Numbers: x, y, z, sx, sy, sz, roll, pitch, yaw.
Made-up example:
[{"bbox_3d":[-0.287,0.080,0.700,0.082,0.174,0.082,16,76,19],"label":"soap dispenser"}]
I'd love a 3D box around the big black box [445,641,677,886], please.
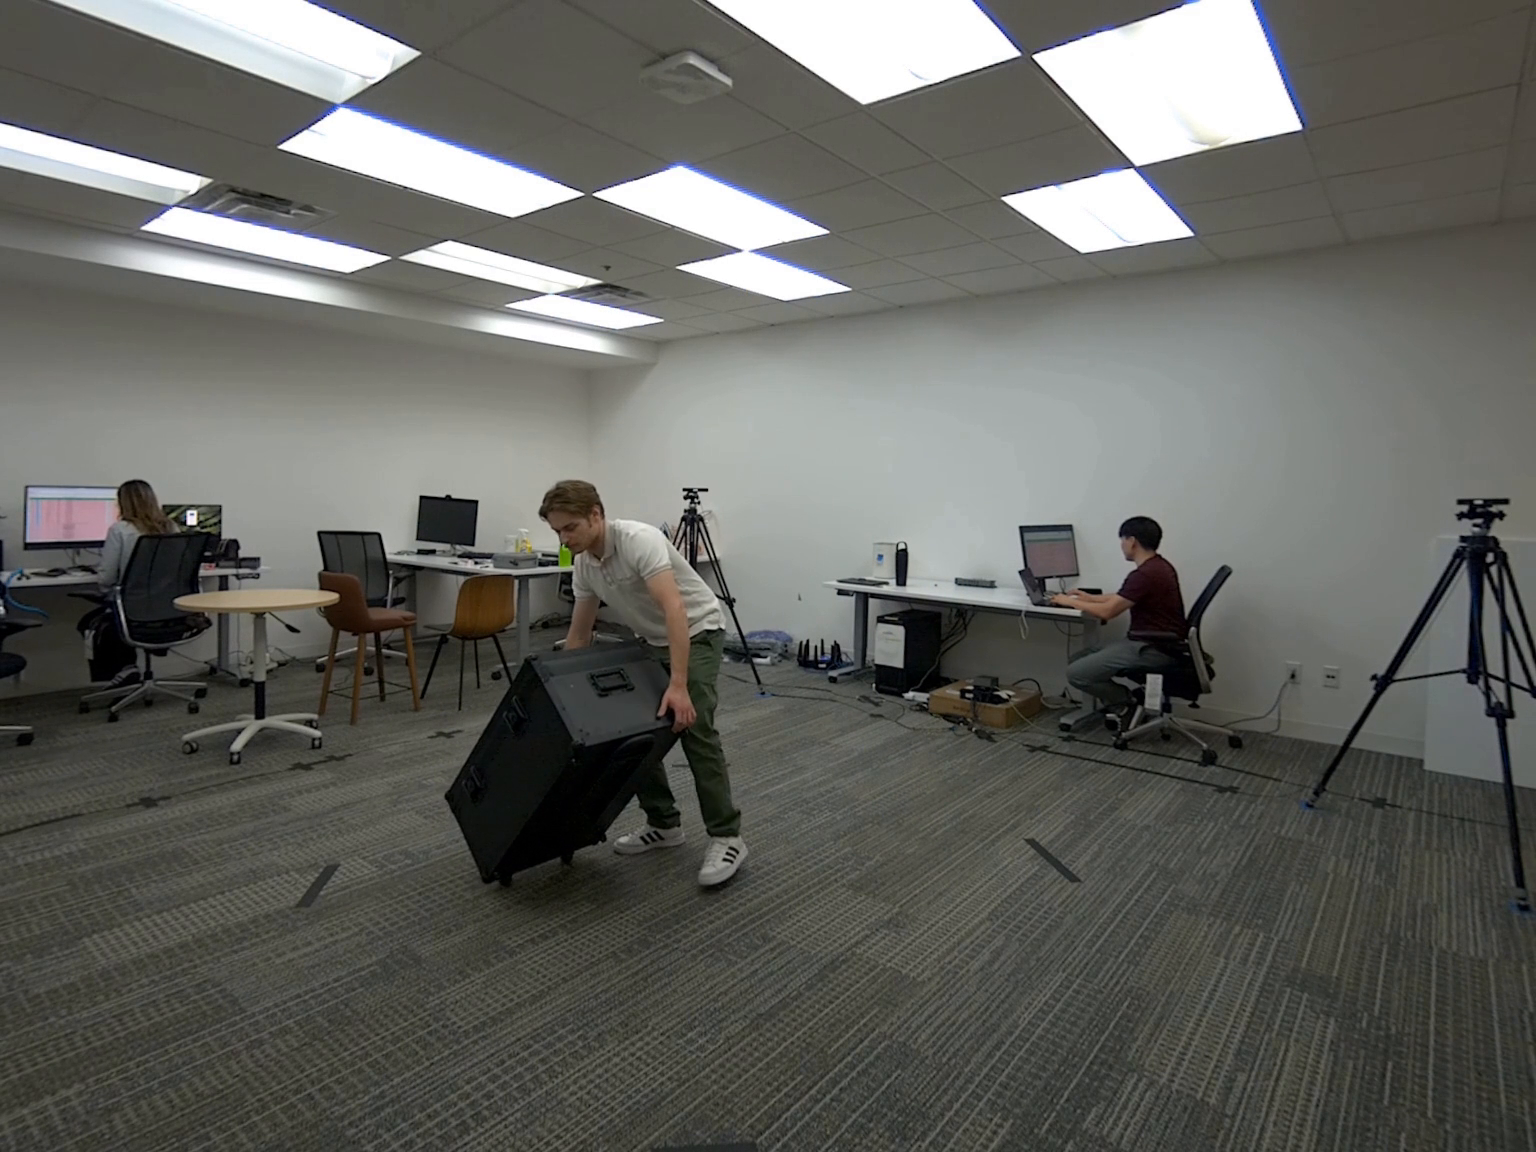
[{"bbox_3d":[-0.718,0.653,2.946,0.508,0.864,0.399,-5,49,-48],"label":"big black box"}]
